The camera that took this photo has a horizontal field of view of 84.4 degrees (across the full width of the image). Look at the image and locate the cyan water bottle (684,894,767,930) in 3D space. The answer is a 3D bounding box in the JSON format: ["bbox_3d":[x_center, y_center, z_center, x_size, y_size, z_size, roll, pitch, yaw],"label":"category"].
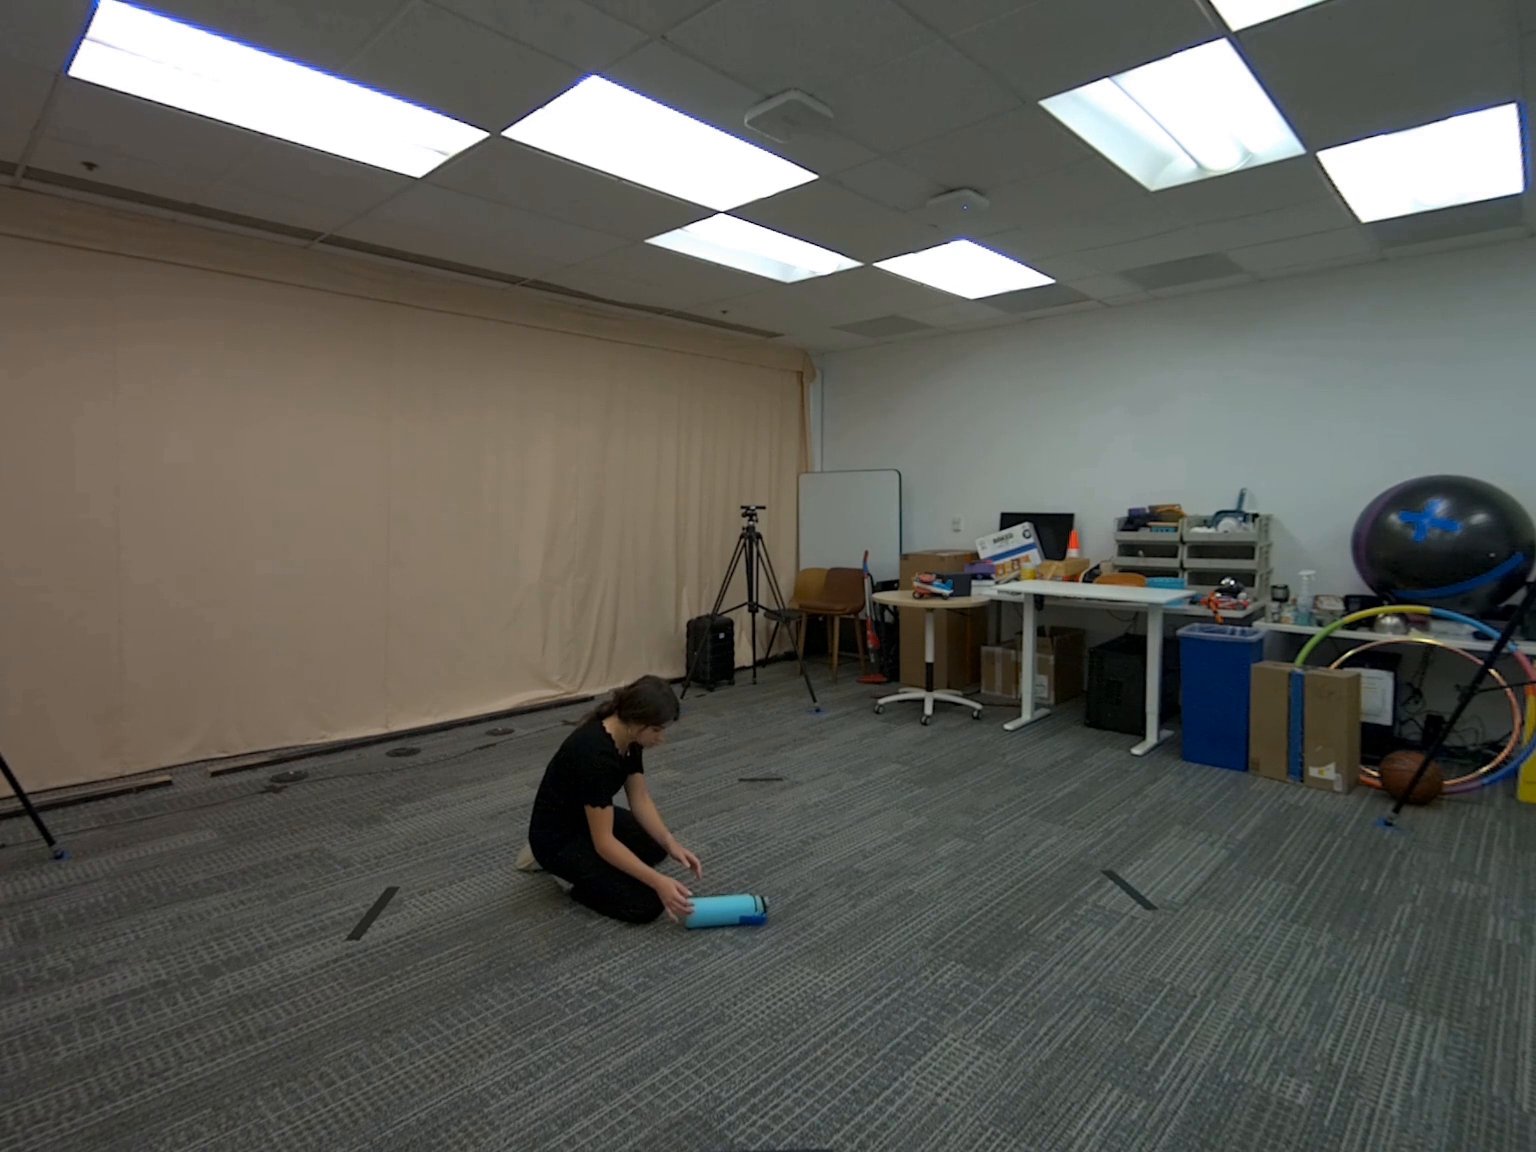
[{"bbox_3d":[-0.132,1.118,2.797,0.281,0.092,0.093,-1,4,-6],"label":"cyan water bottle"}]
